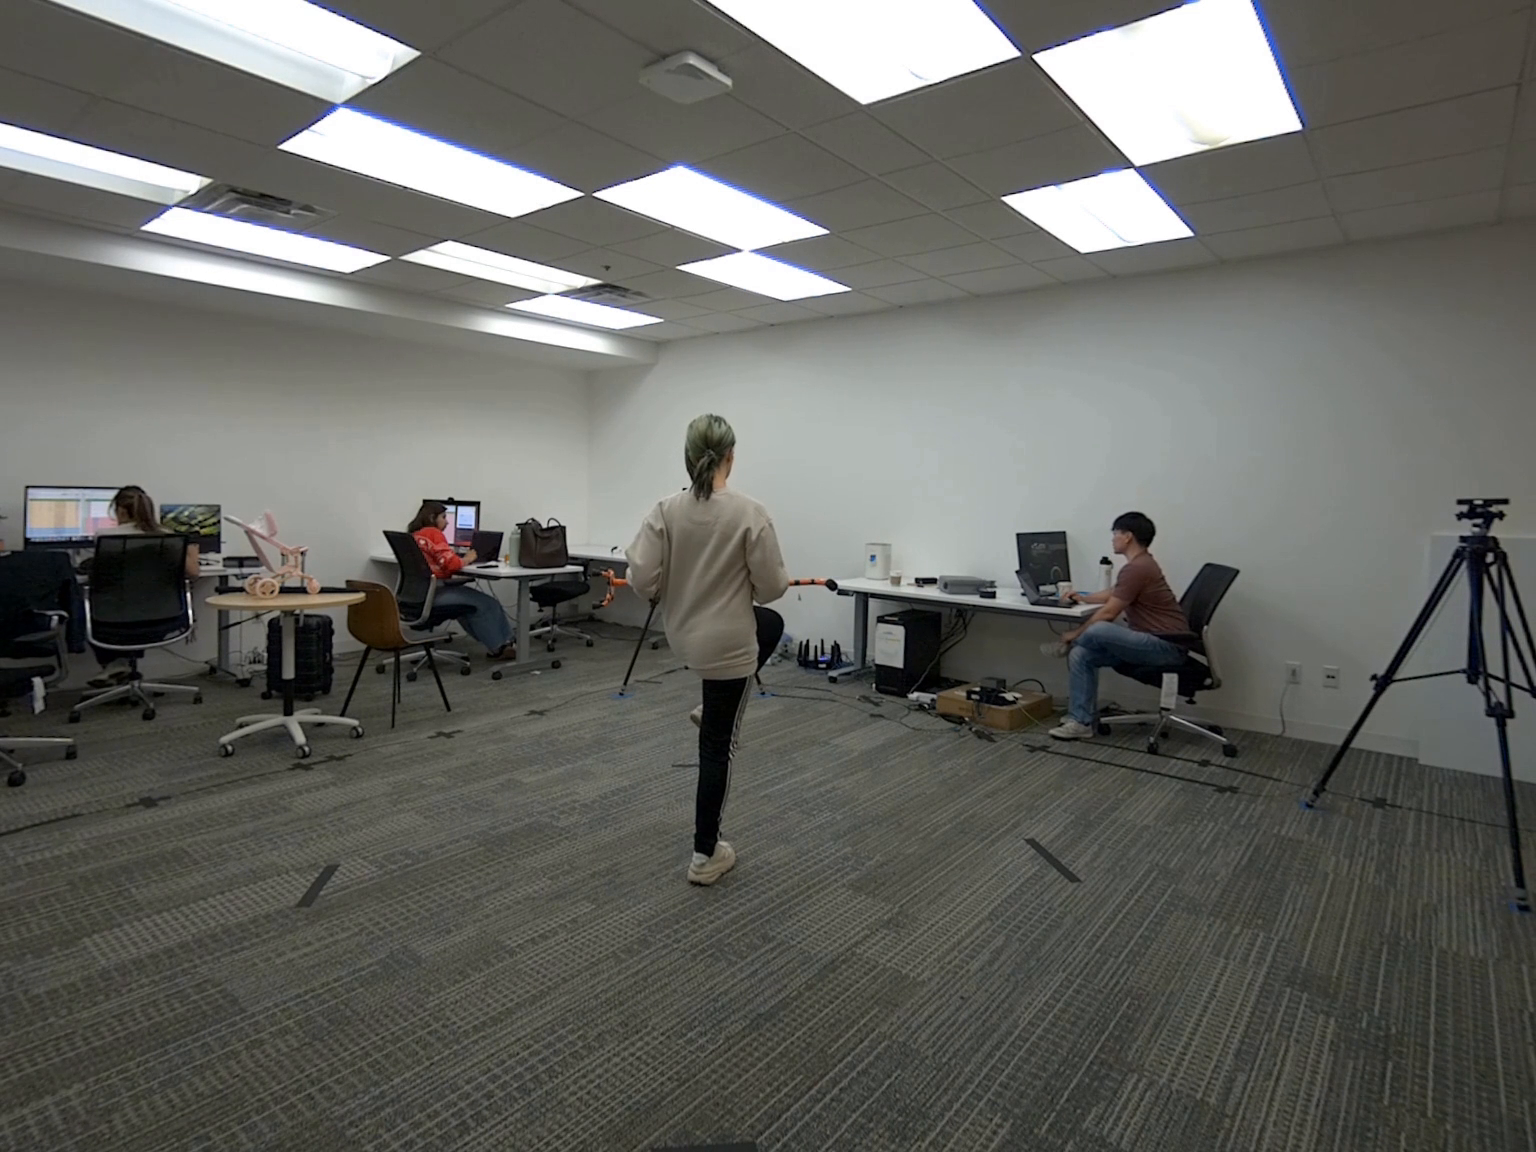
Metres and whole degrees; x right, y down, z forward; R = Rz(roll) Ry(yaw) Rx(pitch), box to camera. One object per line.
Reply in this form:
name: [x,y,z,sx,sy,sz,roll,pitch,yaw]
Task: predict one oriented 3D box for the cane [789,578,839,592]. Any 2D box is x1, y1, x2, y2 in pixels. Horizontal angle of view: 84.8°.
cane: [-0.201,0.047,3.266,0.909,0.151,0.207,0,4,1]
